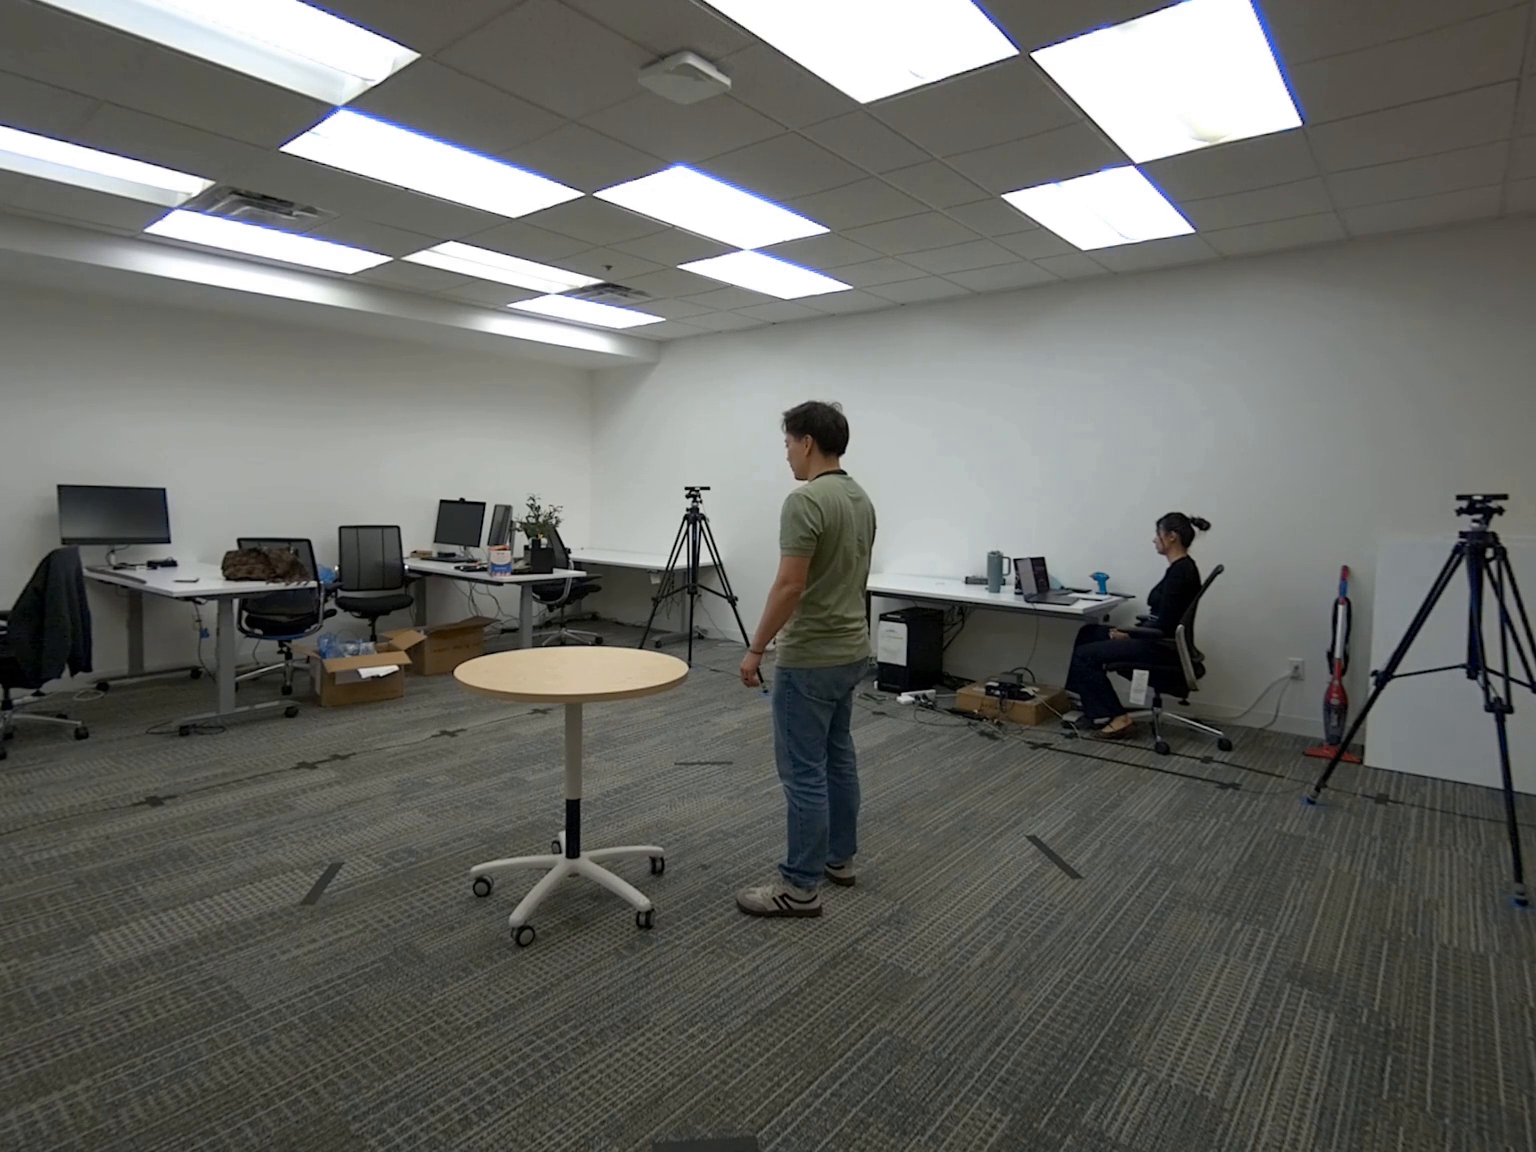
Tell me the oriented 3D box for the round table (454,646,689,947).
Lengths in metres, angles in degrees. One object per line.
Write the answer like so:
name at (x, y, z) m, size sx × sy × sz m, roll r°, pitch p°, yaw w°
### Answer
round table at (-0.665, 0.696, 2.858) m, size 0.763 × 0.792 × 0.767 m, roll 1°, pitch 4°, yaw -2°
